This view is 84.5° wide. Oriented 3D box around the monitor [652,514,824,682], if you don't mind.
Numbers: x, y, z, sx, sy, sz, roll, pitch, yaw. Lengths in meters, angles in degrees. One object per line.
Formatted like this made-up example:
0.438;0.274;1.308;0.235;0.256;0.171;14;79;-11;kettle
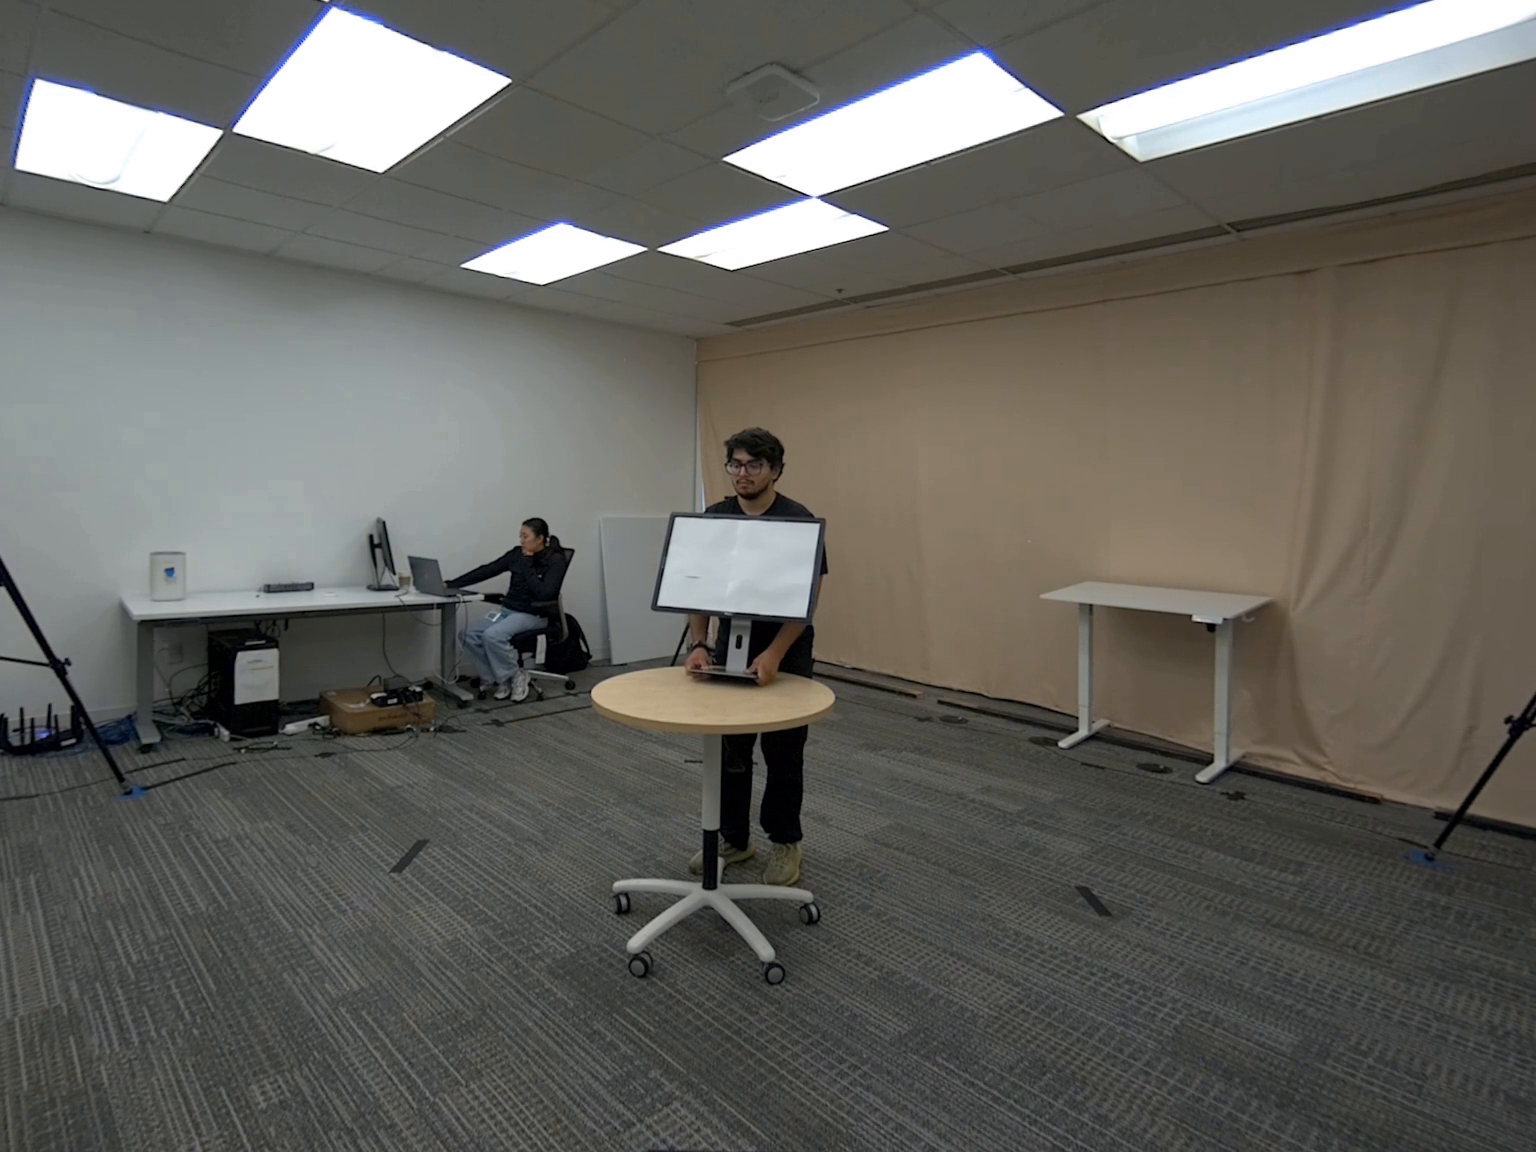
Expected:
-0.103;0.070;2.864;0.574;0.558;0.205;3;-13;19;monitor
